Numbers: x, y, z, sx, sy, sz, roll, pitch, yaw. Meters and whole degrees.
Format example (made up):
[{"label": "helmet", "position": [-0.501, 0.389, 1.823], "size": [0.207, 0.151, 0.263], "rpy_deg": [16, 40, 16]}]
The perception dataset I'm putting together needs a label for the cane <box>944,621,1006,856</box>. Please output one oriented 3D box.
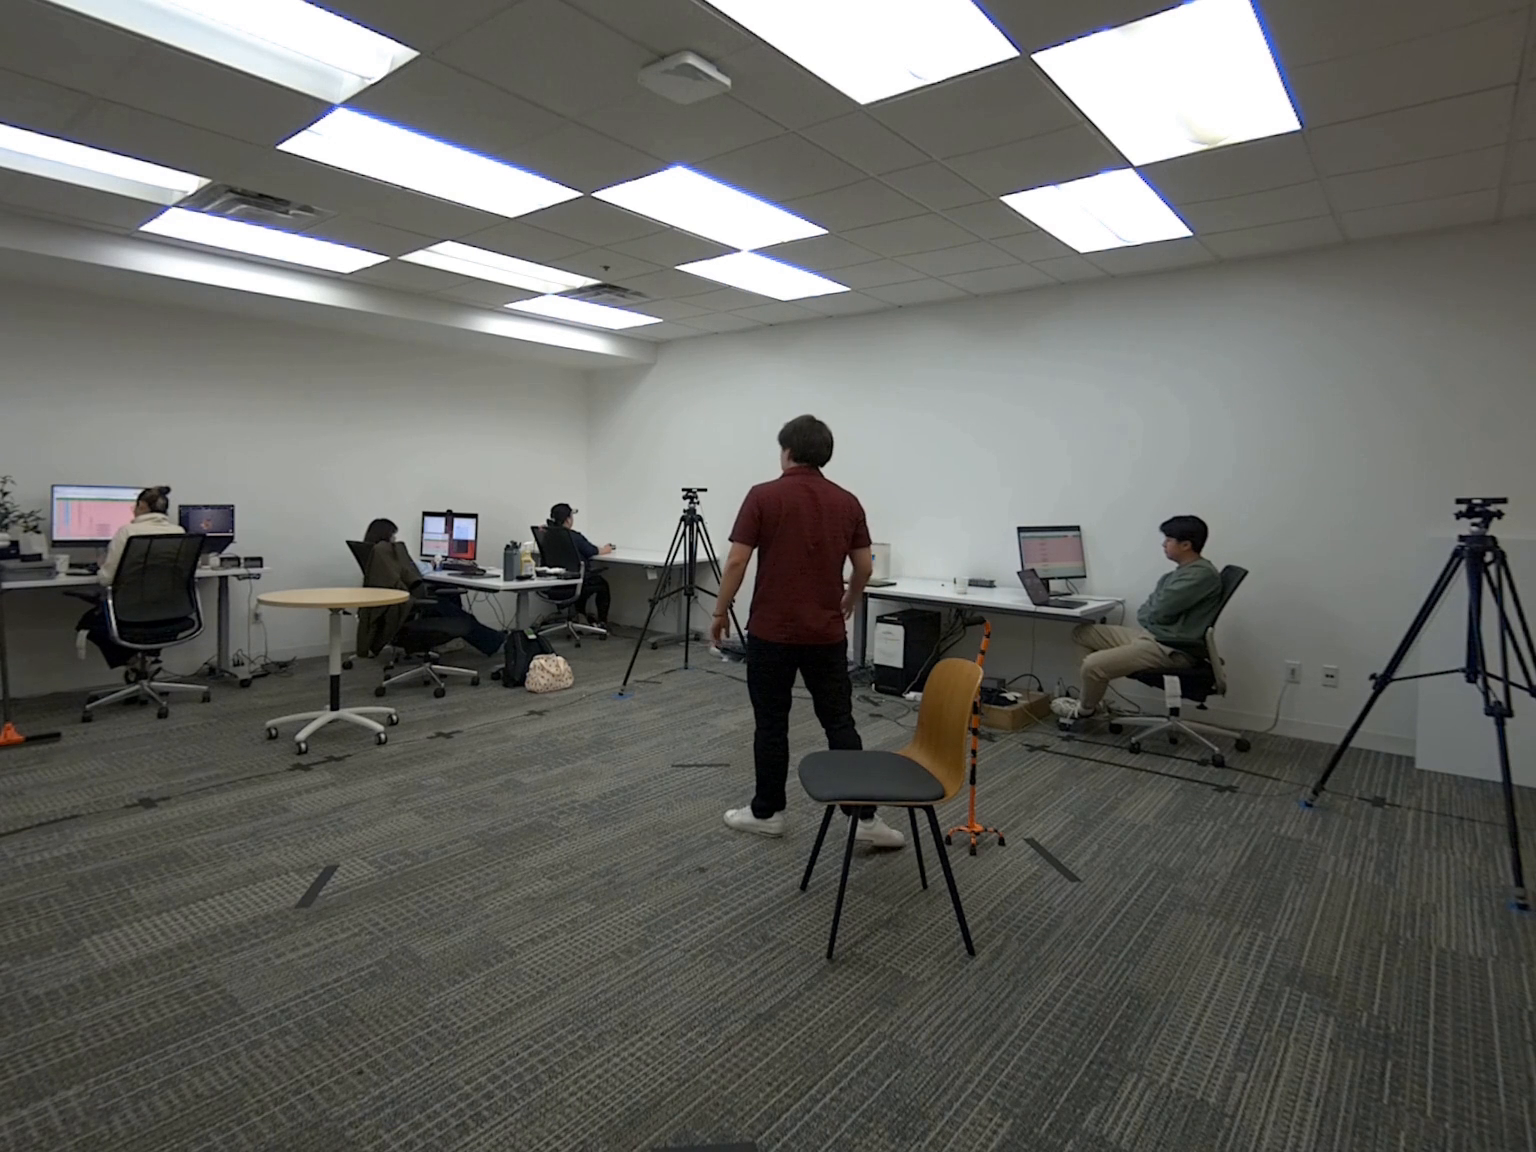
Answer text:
[{"label": "cane", "position": [0.835, 0.620, 3.375], "size": [0.200, 0.906, 0.156], "rpy_deg": [0, 3, -37]}]
